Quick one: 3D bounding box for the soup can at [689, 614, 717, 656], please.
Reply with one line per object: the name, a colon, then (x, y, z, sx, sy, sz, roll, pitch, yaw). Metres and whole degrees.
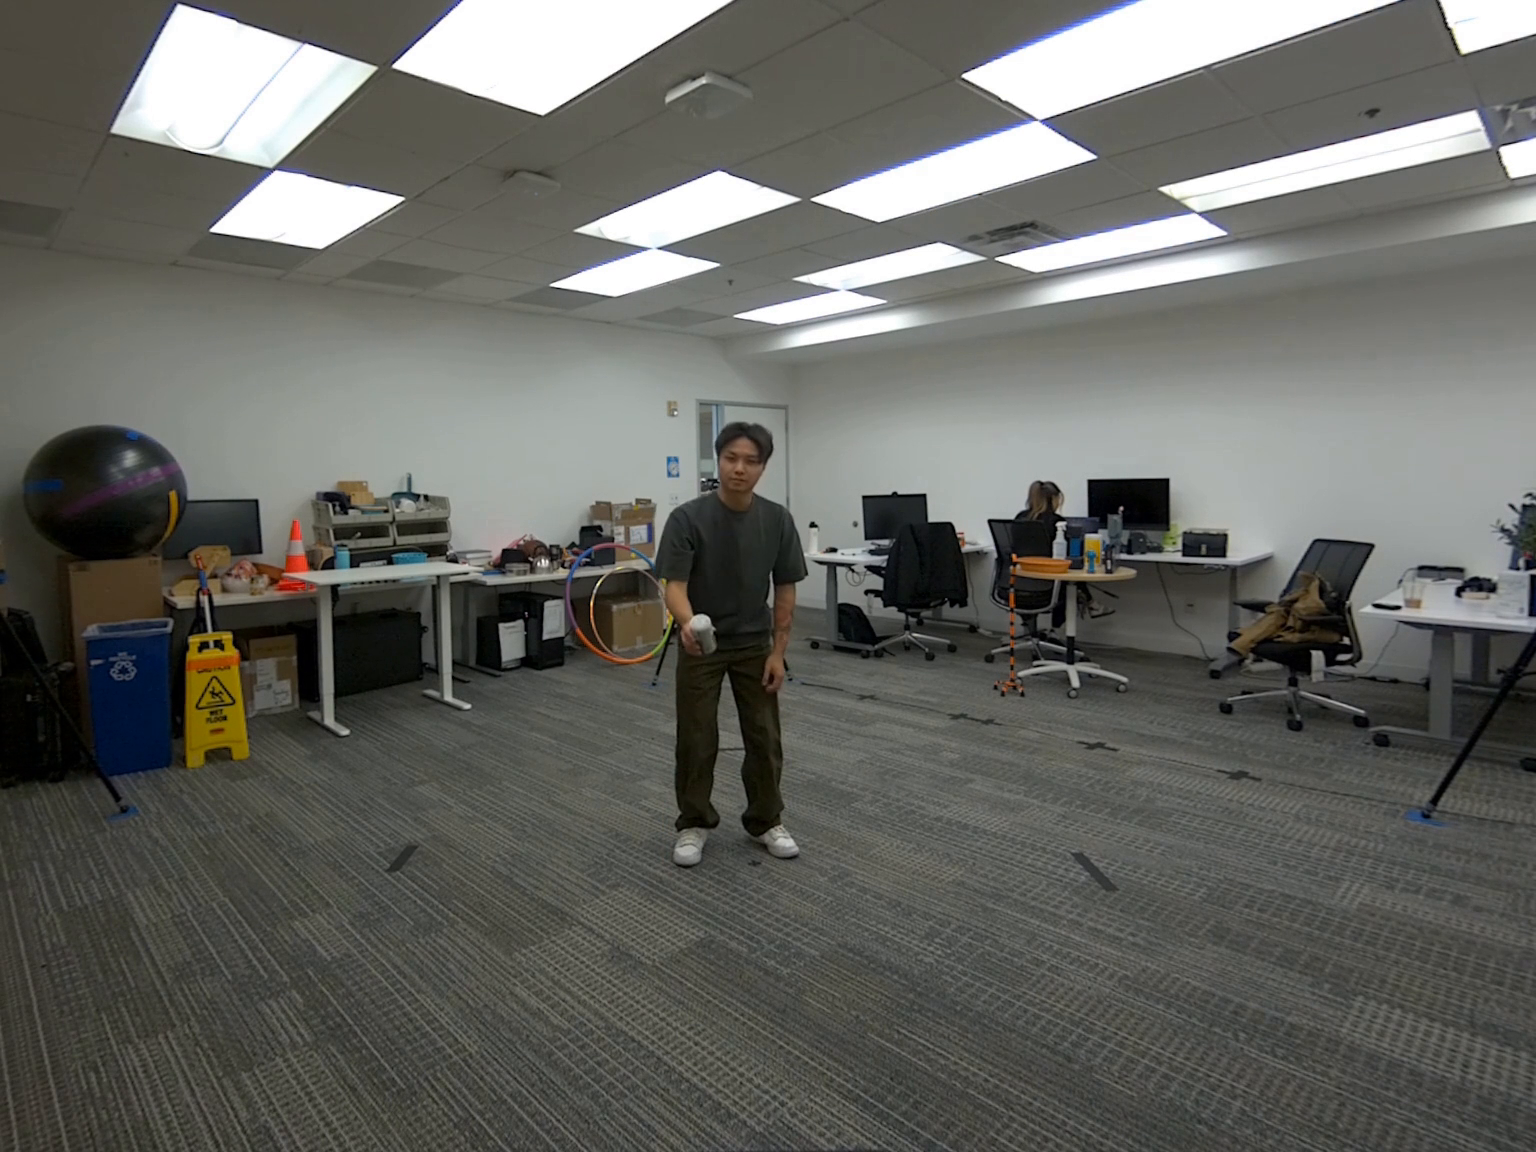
soup can: (-0.216, 0.183, 2.684, 0.067, 0.117, 0.069, -6, 44, 5)
